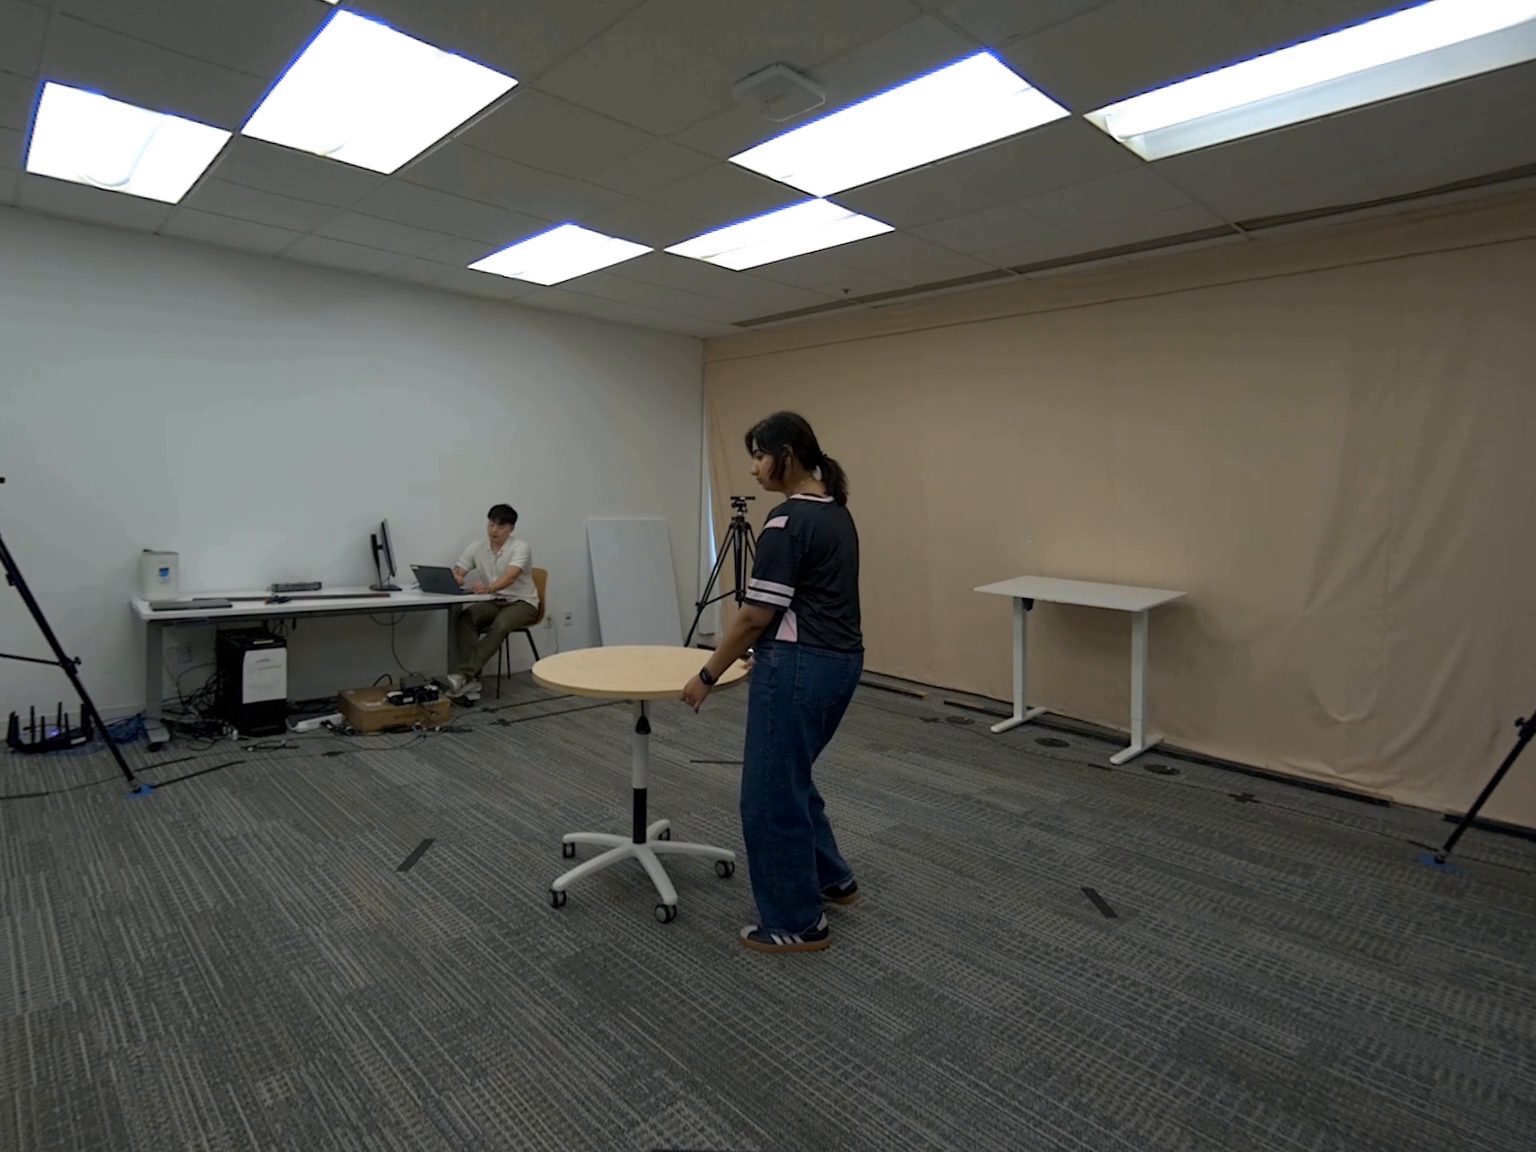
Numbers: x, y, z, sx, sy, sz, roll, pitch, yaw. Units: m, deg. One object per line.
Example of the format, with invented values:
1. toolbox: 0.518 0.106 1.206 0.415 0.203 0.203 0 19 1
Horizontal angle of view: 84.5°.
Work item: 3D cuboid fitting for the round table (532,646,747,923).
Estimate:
1. round table: -0.466 0.715 3.038 0.763 0.791 0.767 1 5 -1
